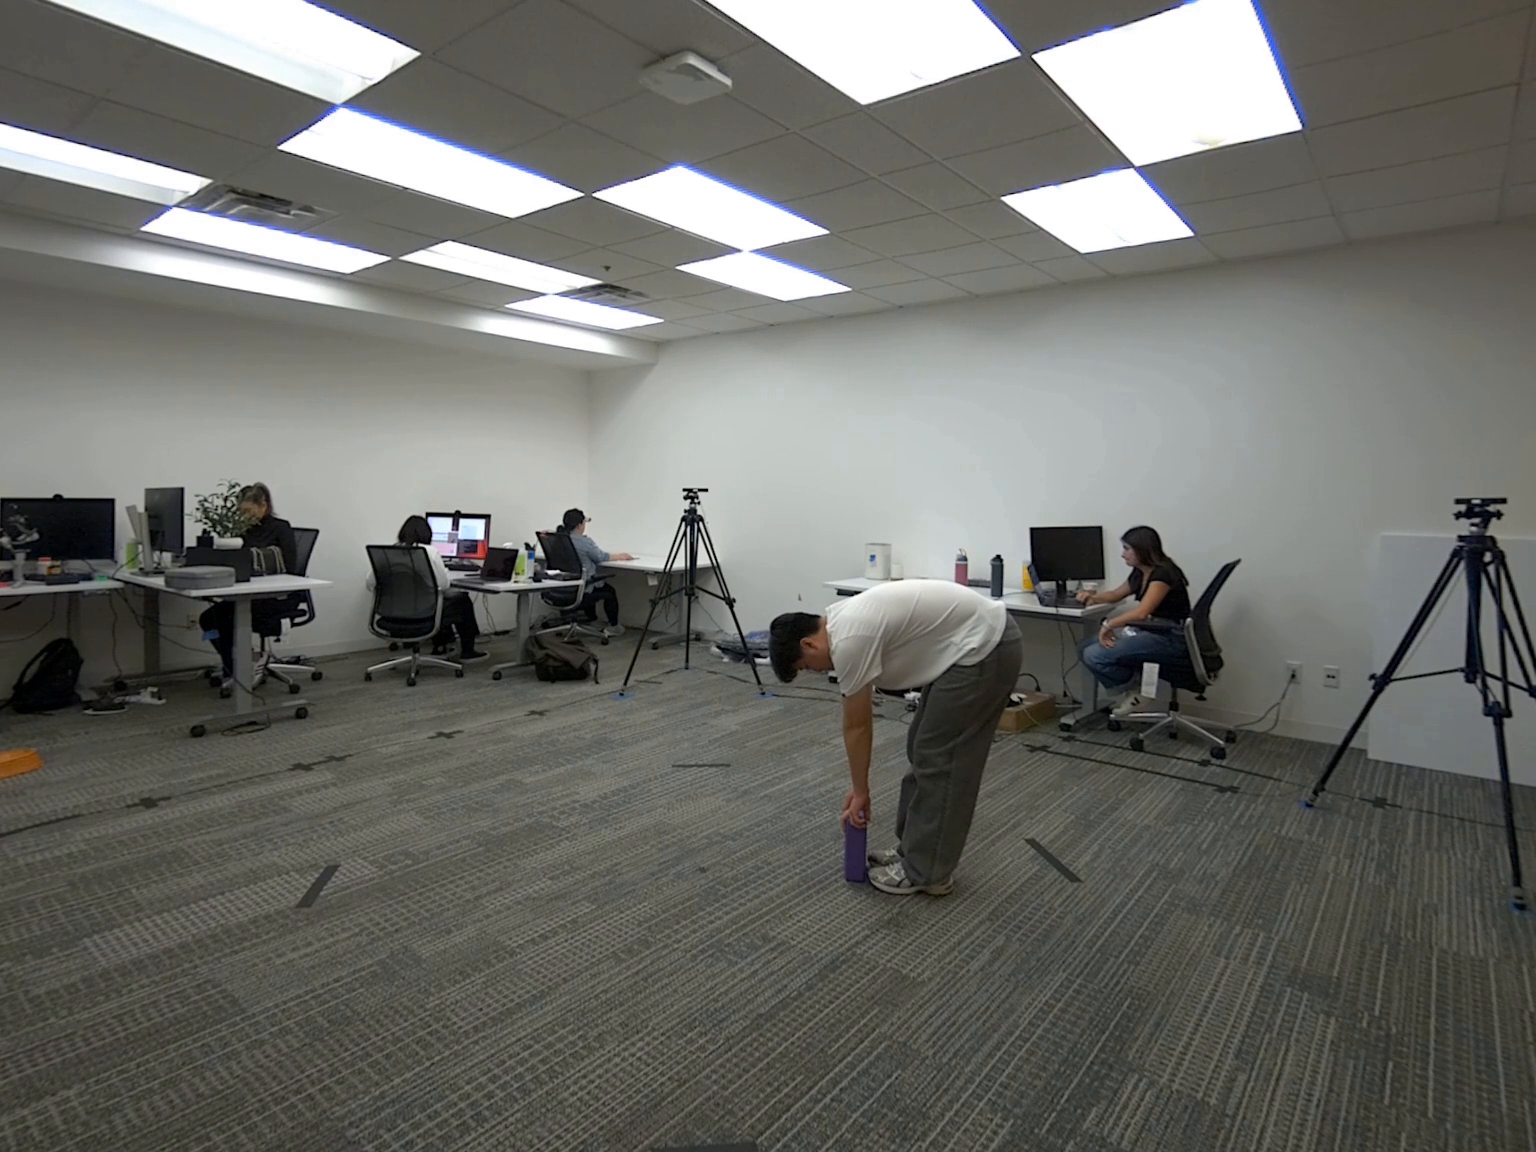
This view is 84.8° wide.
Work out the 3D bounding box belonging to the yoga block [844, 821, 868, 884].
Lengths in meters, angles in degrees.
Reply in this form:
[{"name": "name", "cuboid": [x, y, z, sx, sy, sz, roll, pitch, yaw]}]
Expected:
[{"name": "yoga block", "cuboid": [0.322, 0.972, 3.112, 0.077, 0.229, 0.148, 1, 3, 3]}]
